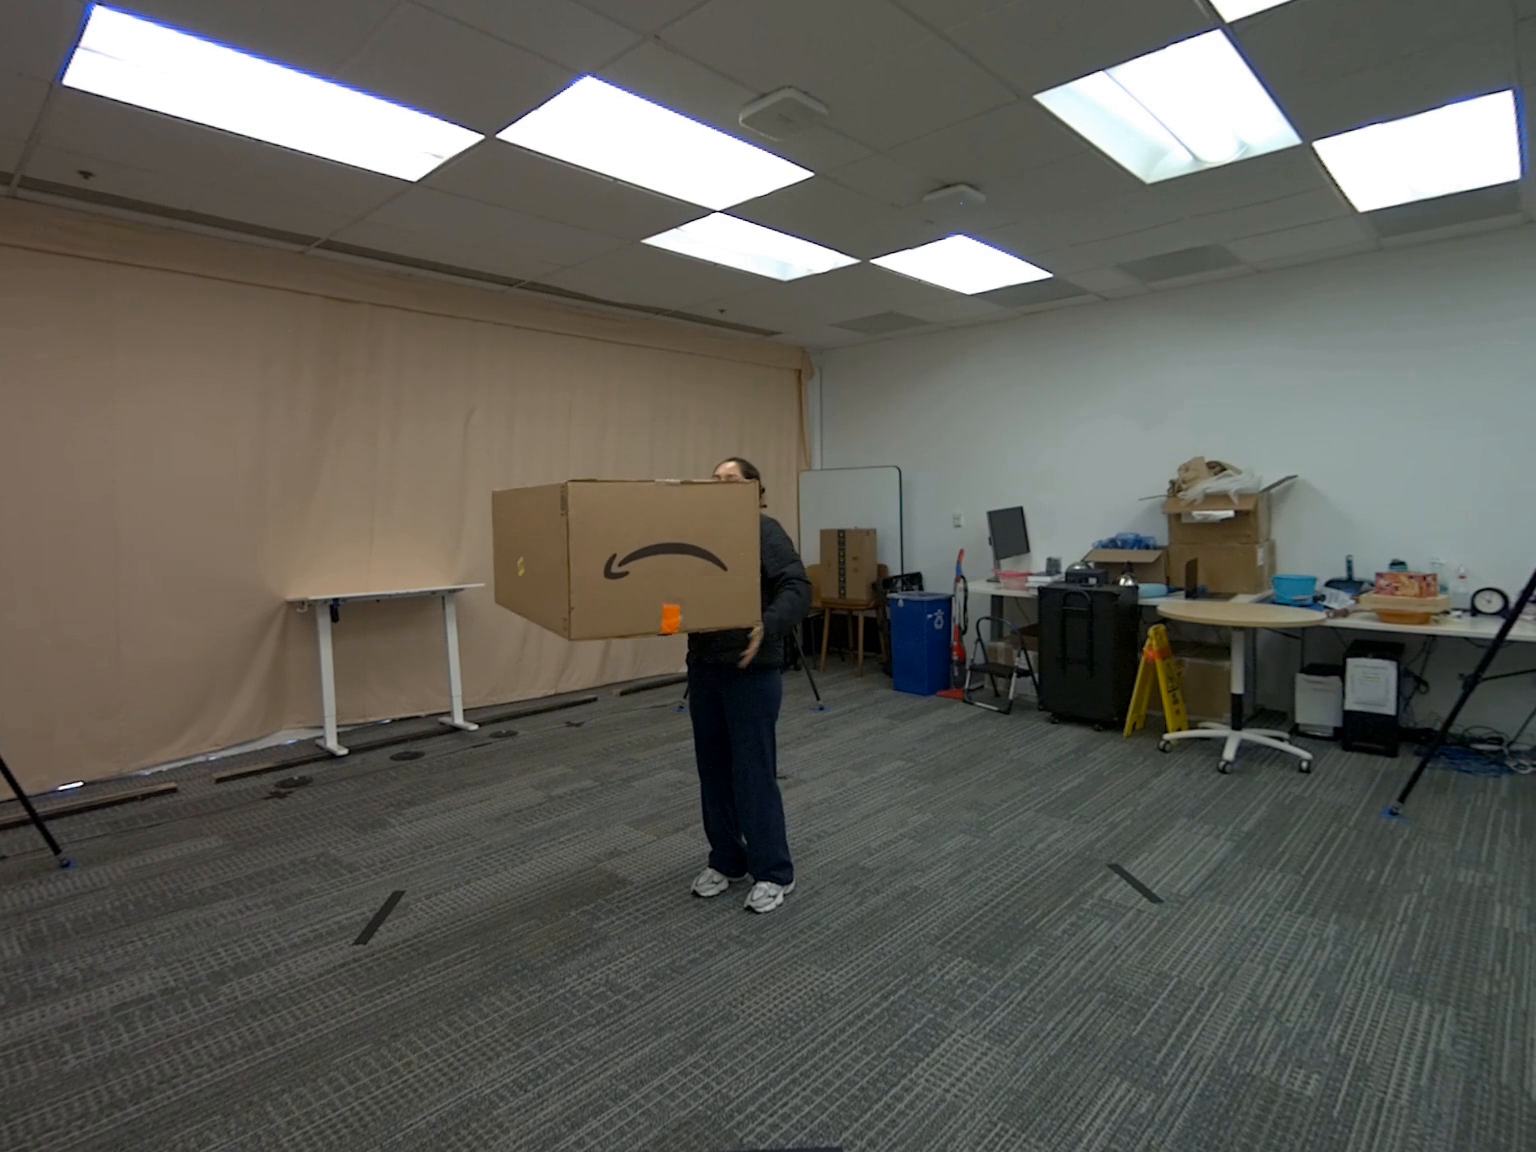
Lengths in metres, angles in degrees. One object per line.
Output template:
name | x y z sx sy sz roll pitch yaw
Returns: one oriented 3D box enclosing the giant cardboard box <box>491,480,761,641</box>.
giant cardboard box | -0.506 -0.089 2.779 0.563 0.425 1.054 -2 5 -28
